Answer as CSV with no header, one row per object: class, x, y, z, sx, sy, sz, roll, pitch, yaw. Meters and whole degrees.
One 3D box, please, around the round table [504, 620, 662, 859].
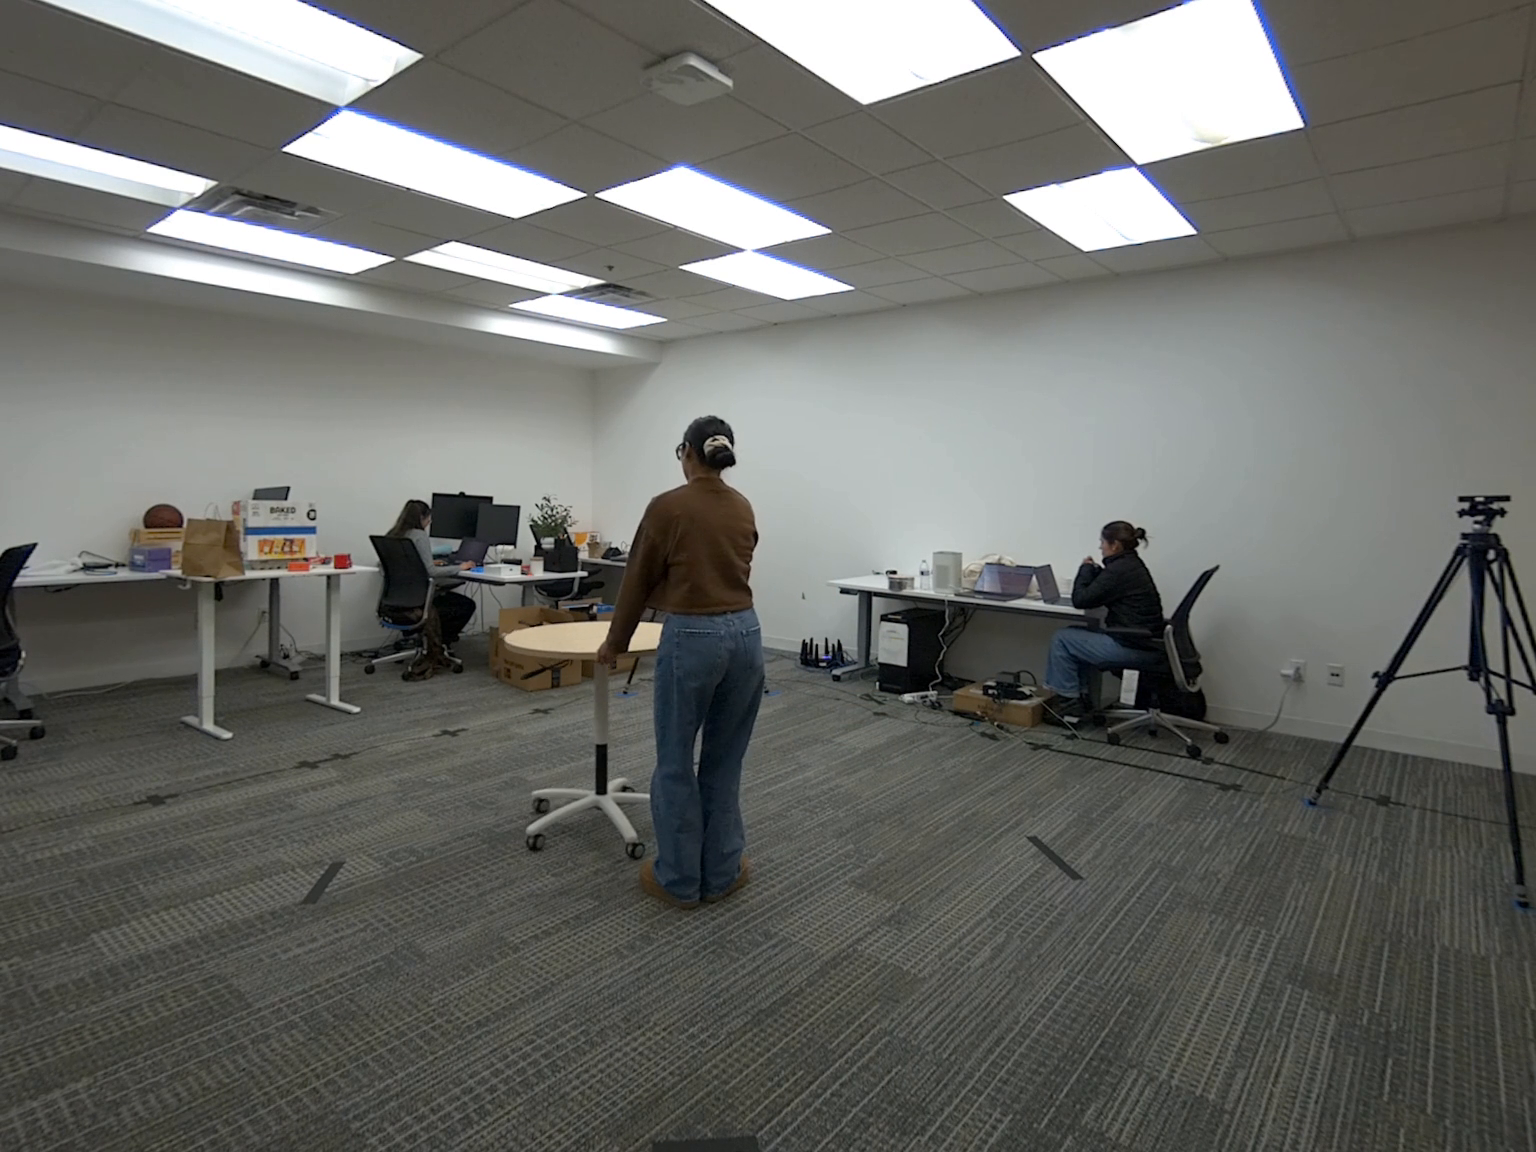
round table,-0.665,0.630,3.445,0.784,0.784,0.789,0,4,-2
